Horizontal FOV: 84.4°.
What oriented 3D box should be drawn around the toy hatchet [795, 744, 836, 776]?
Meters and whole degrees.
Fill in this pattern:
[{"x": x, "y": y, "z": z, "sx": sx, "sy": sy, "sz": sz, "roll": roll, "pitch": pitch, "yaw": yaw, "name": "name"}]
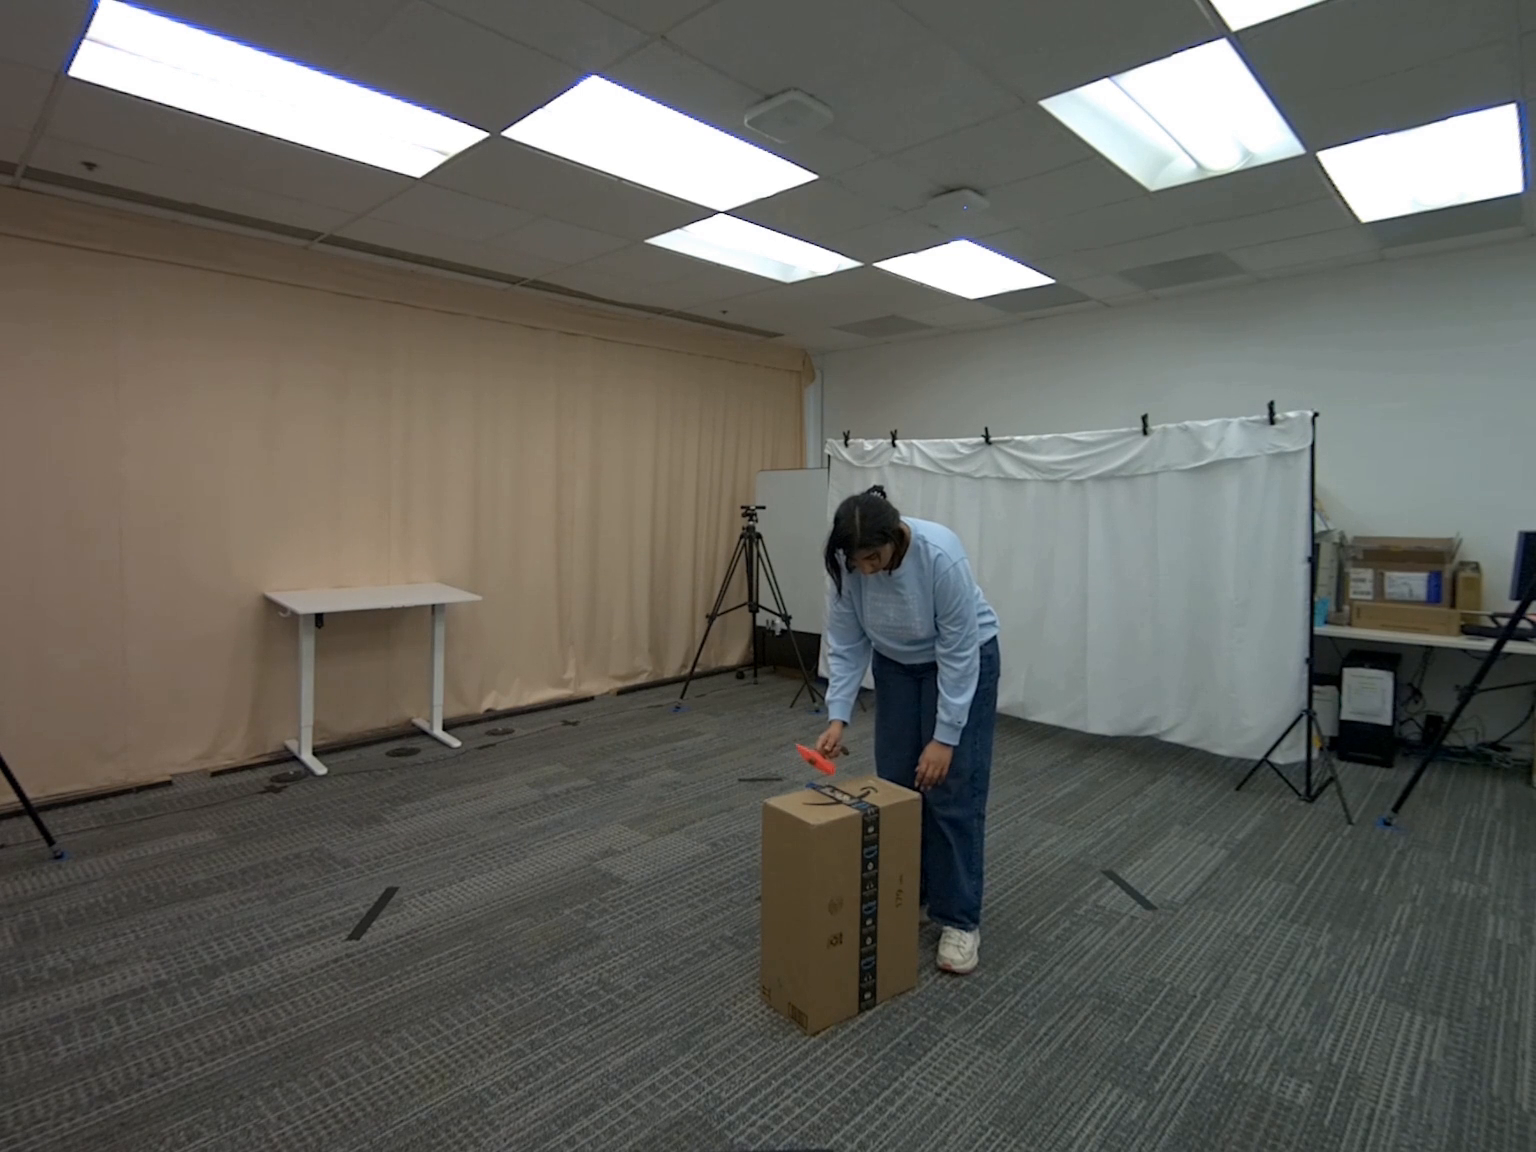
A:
[{"x": 0.205, "y": 0.551, "z": 2.510, "sx": 0.136, "sy": 0.029, "sz": 0.260, "roll": 32, "pitch": 10, "yaw": 38, "name": "toy hatchet"}]
